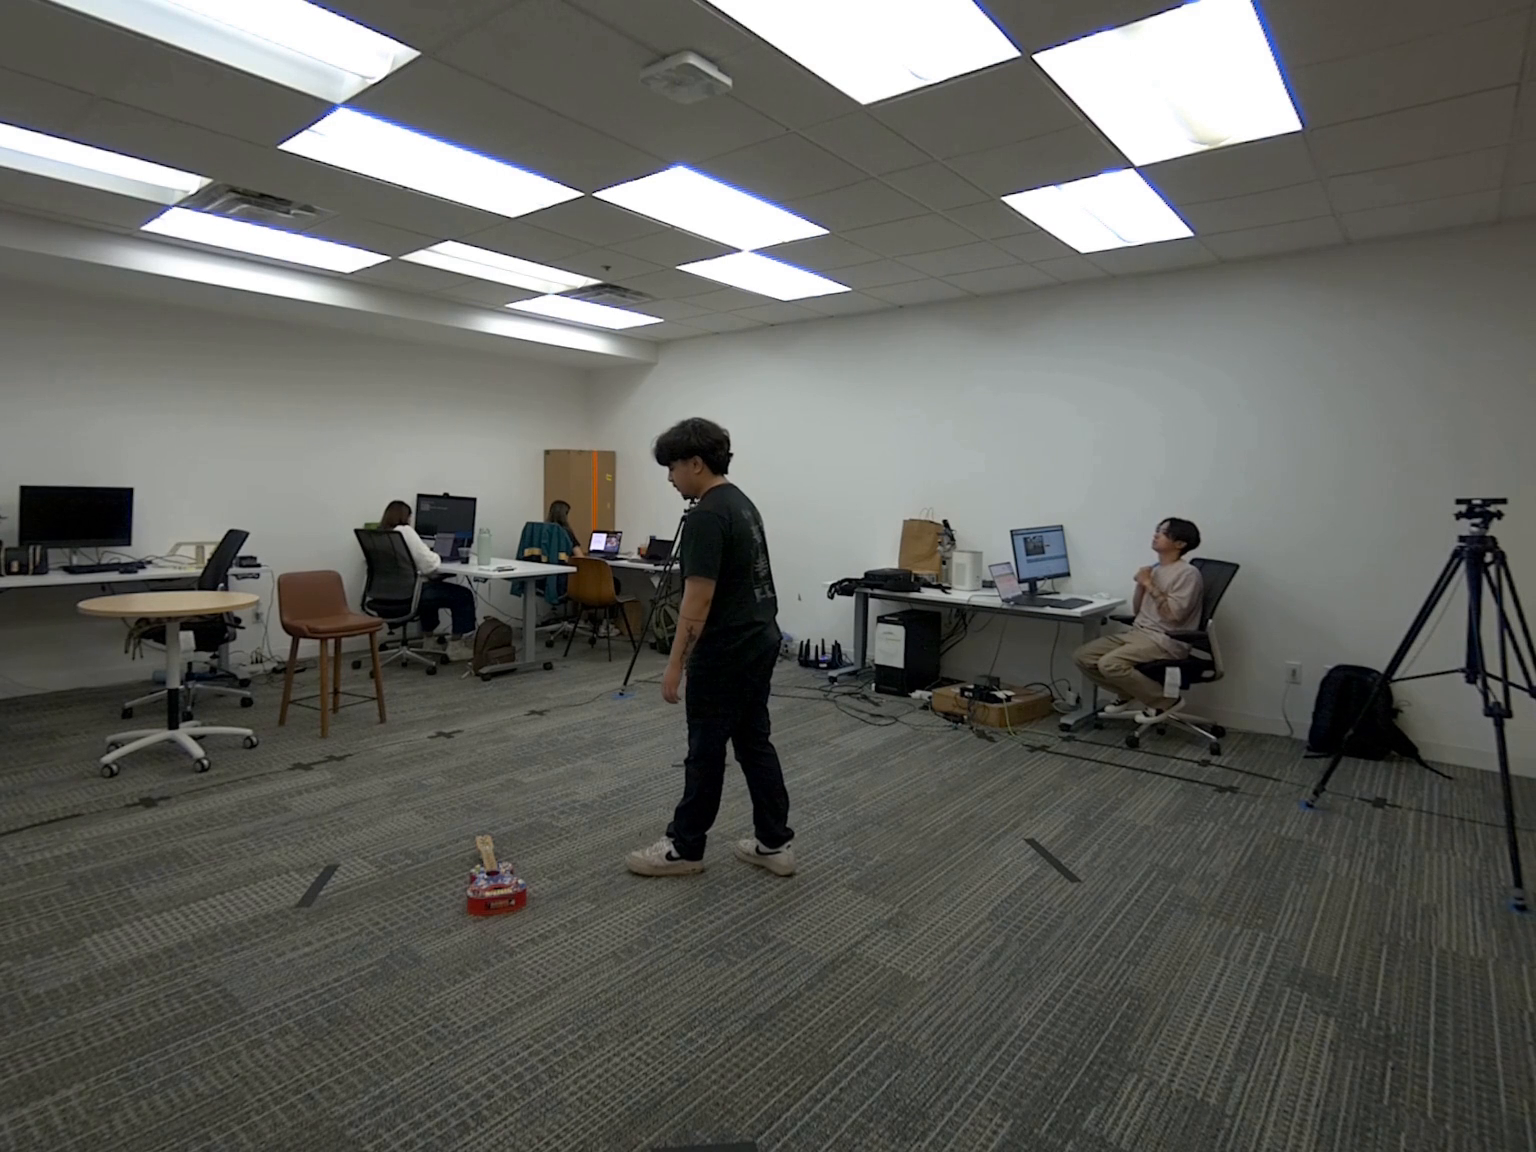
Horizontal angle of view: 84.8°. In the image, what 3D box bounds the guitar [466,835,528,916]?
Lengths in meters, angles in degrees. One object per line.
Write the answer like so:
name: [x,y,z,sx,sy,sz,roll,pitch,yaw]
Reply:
guitar: [-0.958,1.032,2.993,0.190,0.070,0.508,-2,7,-15]
